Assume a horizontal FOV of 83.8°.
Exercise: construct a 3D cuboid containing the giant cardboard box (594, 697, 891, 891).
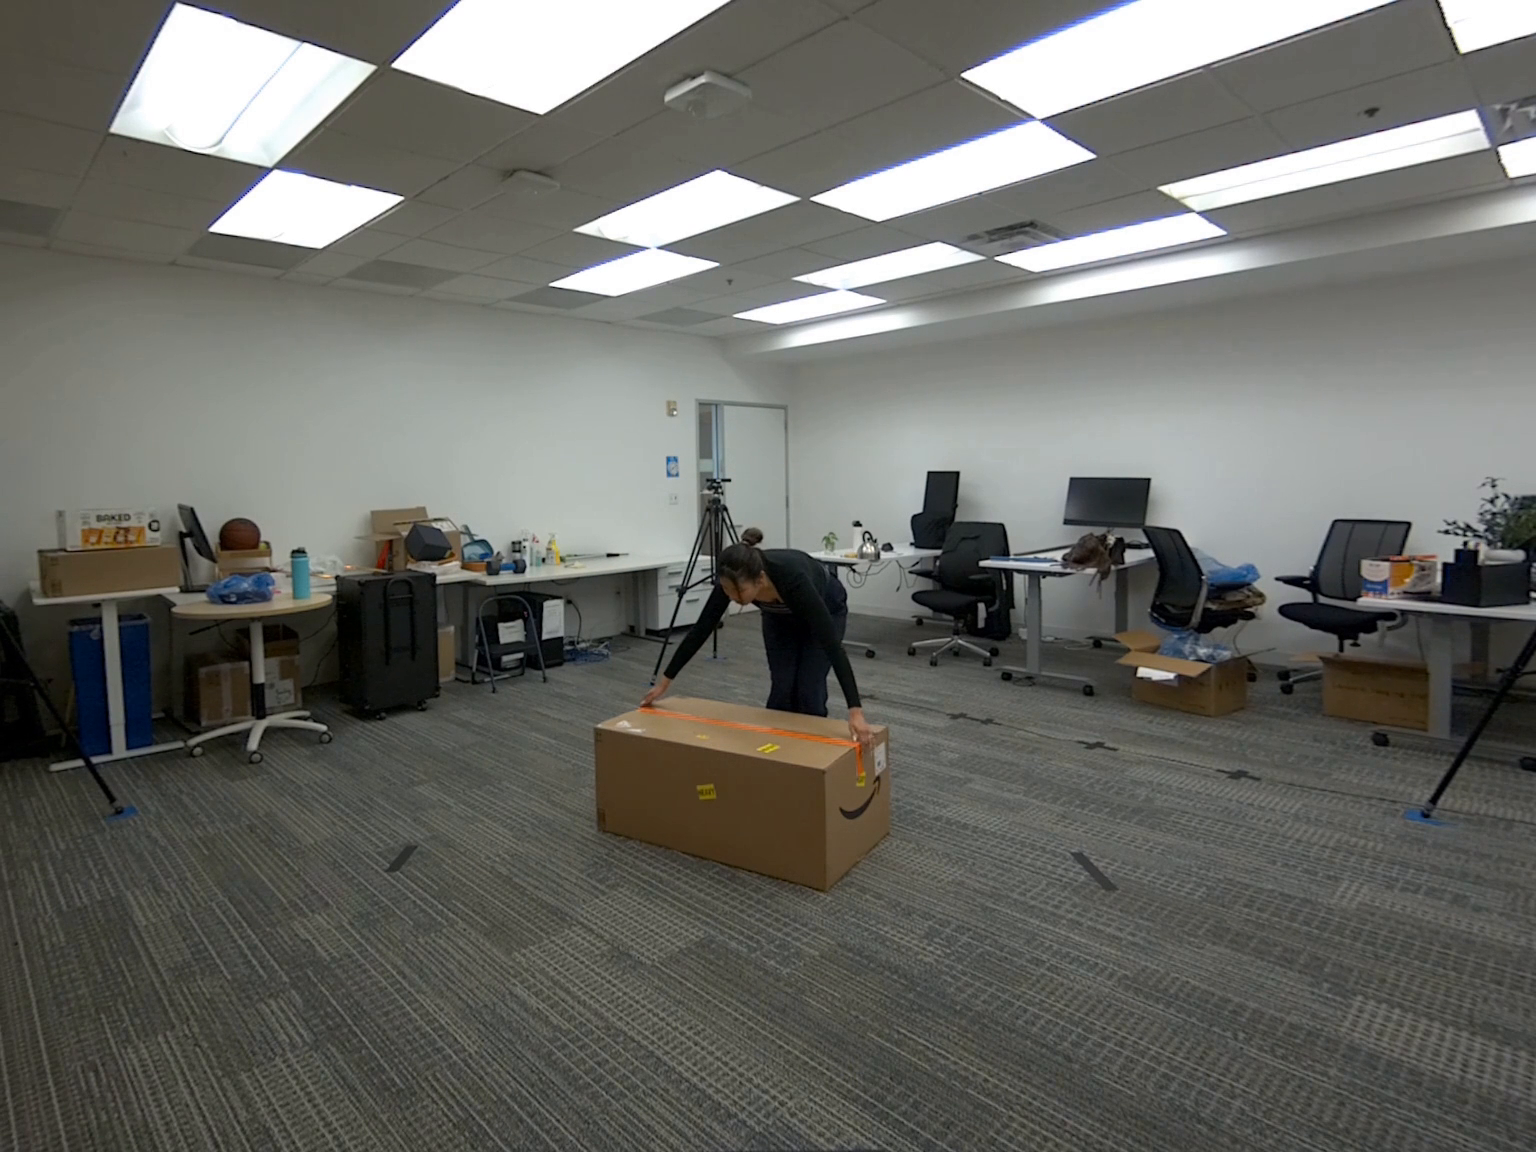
[{"bbox_3d":[-0.108,0.801,3.376,1.054,0.425,0.564,3,5,32],"label":"giant cardboard box"}]
